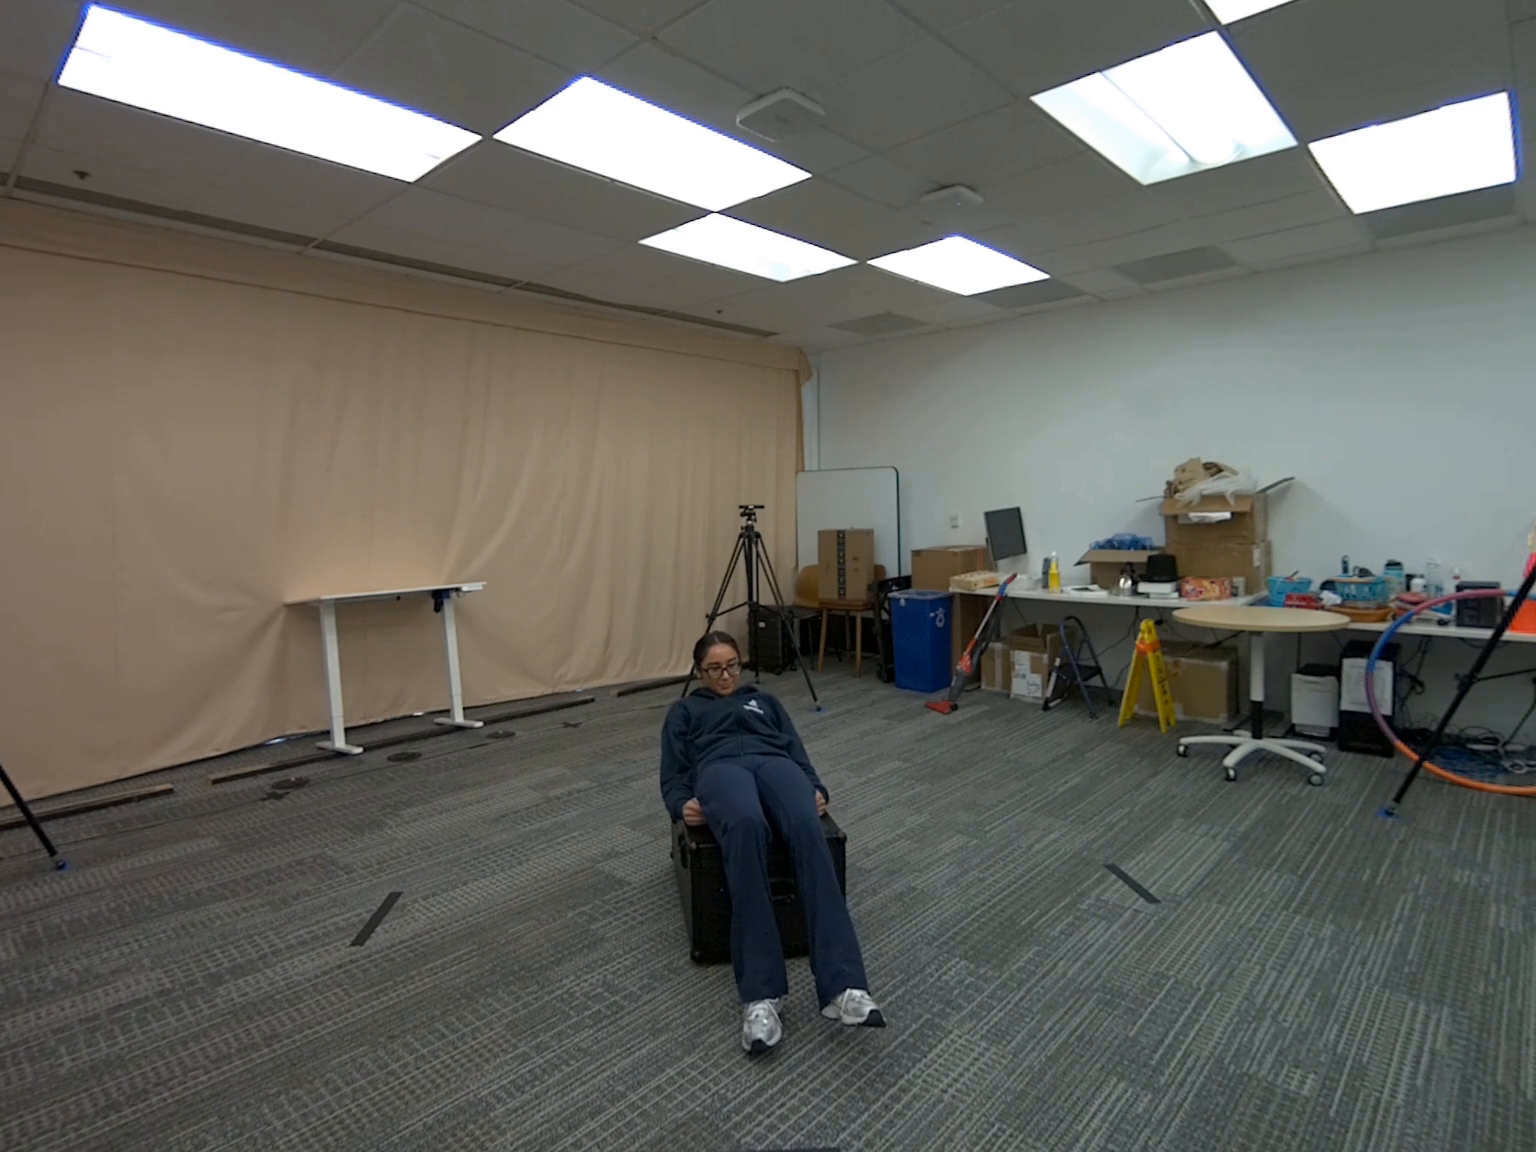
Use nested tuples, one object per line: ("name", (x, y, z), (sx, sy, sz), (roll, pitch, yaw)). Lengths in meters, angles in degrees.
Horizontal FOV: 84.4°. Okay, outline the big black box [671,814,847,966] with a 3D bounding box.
("big black box", (-0.072, 0.949, 2.974), (0.516, 0.395, 0.873), (-3, 5, -10))
